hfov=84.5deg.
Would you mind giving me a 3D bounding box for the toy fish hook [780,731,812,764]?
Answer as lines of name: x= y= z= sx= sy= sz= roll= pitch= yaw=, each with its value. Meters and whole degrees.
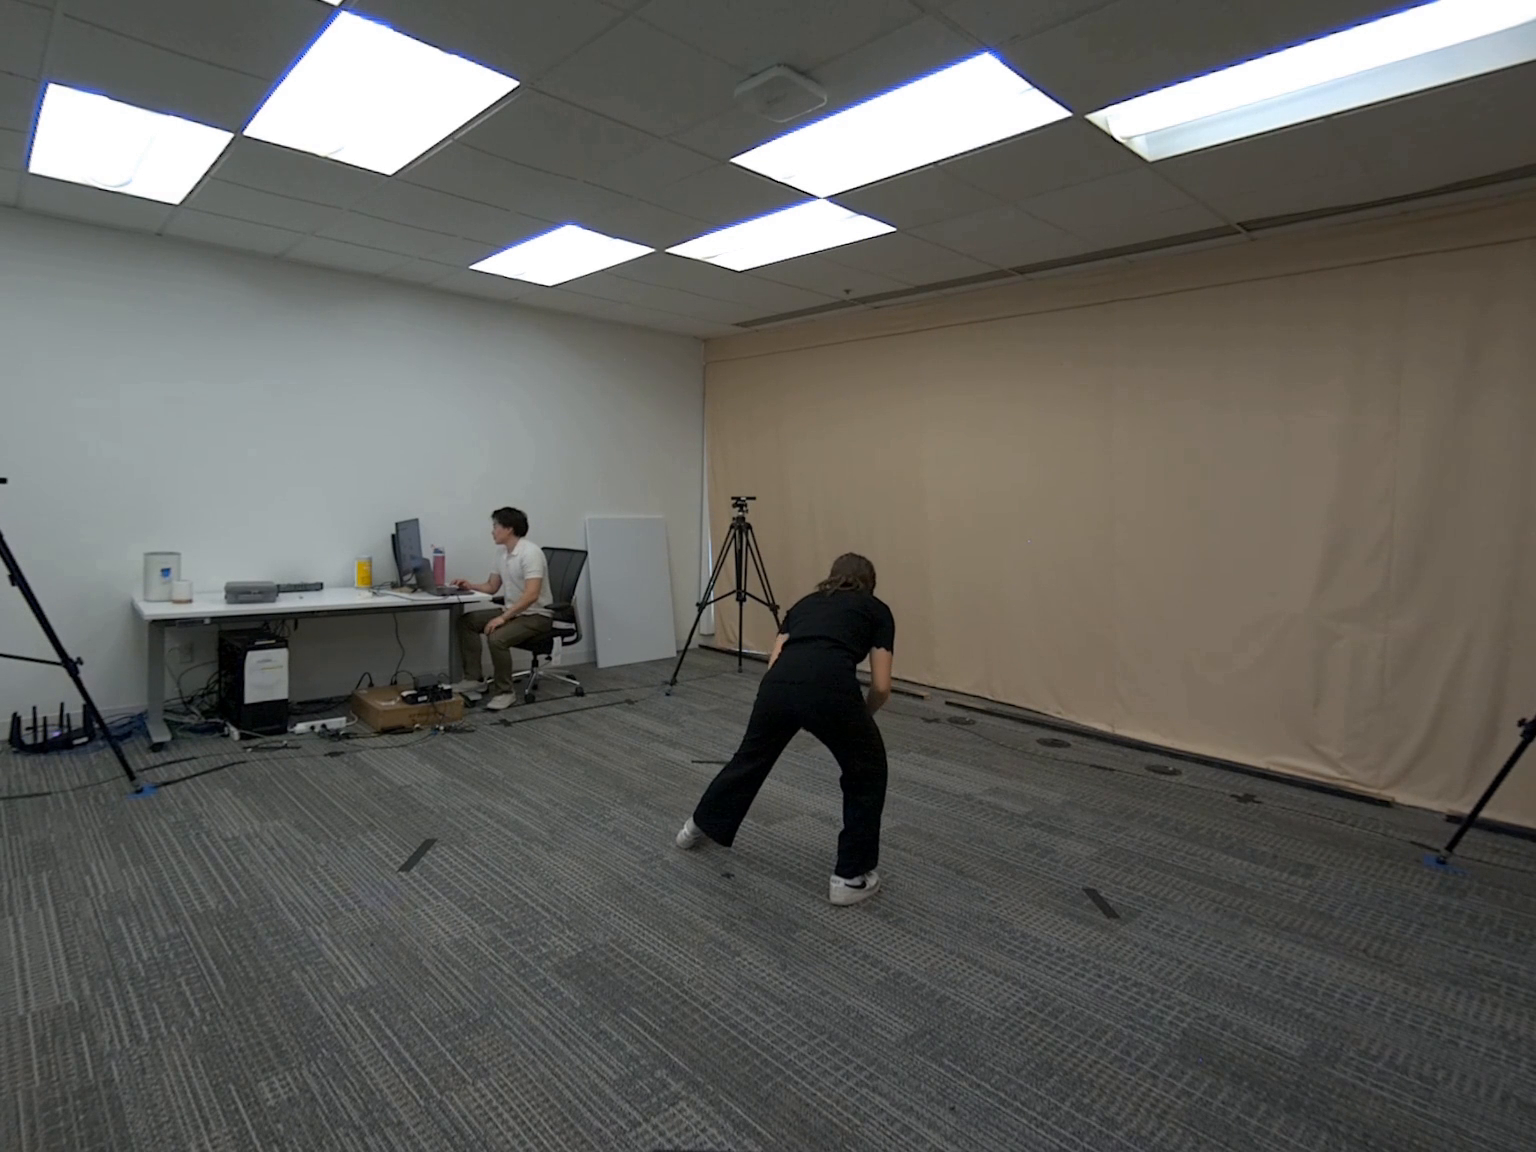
toy fish hook: x=0.188 y=0.576 z=3.377 sx=0.049 sy=0.224 sz=0.501 roll=41 pitch=13 yaw=9
